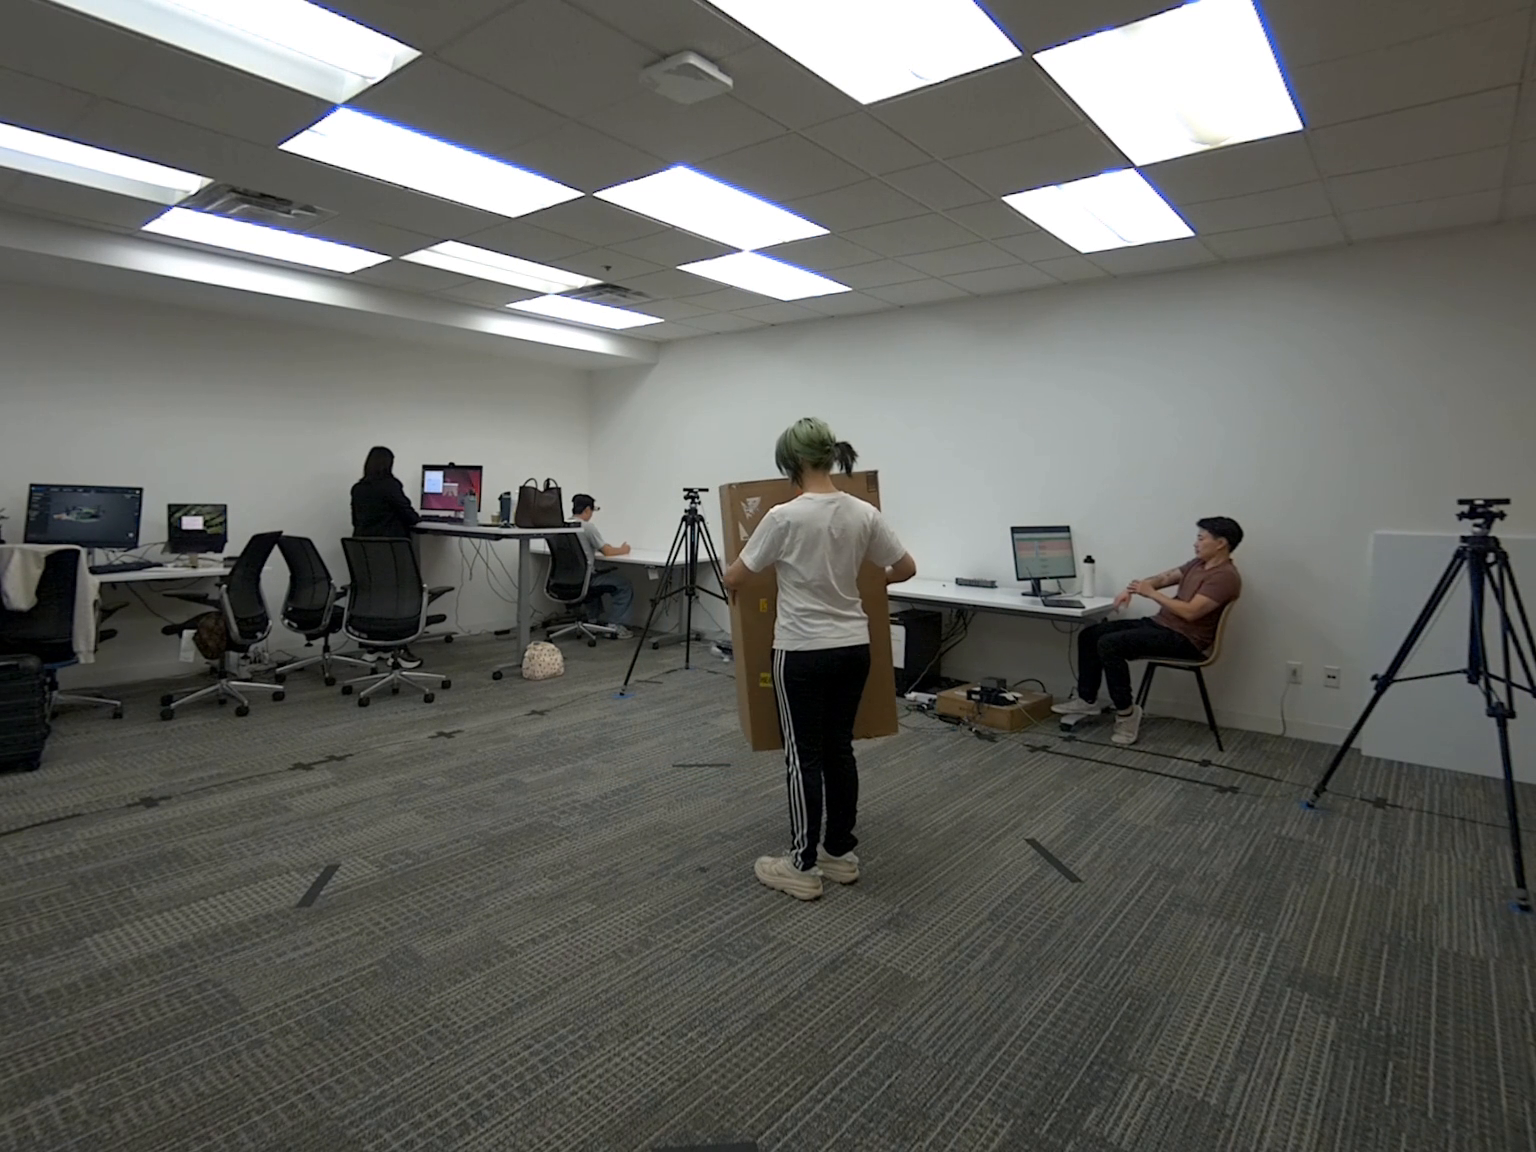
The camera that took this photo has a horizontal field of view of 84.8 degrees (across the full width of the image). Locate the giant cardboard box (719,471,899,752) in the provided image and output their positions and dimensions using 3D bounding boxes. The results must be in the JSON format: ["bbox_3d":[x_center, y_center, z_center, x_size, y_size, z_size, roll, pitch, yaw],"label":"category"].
[{"bbox_3d":[0.138,0.114,3.425,0.574,1.024,0.429,-5,2,-6],"label":"giant cardboard box"}]
